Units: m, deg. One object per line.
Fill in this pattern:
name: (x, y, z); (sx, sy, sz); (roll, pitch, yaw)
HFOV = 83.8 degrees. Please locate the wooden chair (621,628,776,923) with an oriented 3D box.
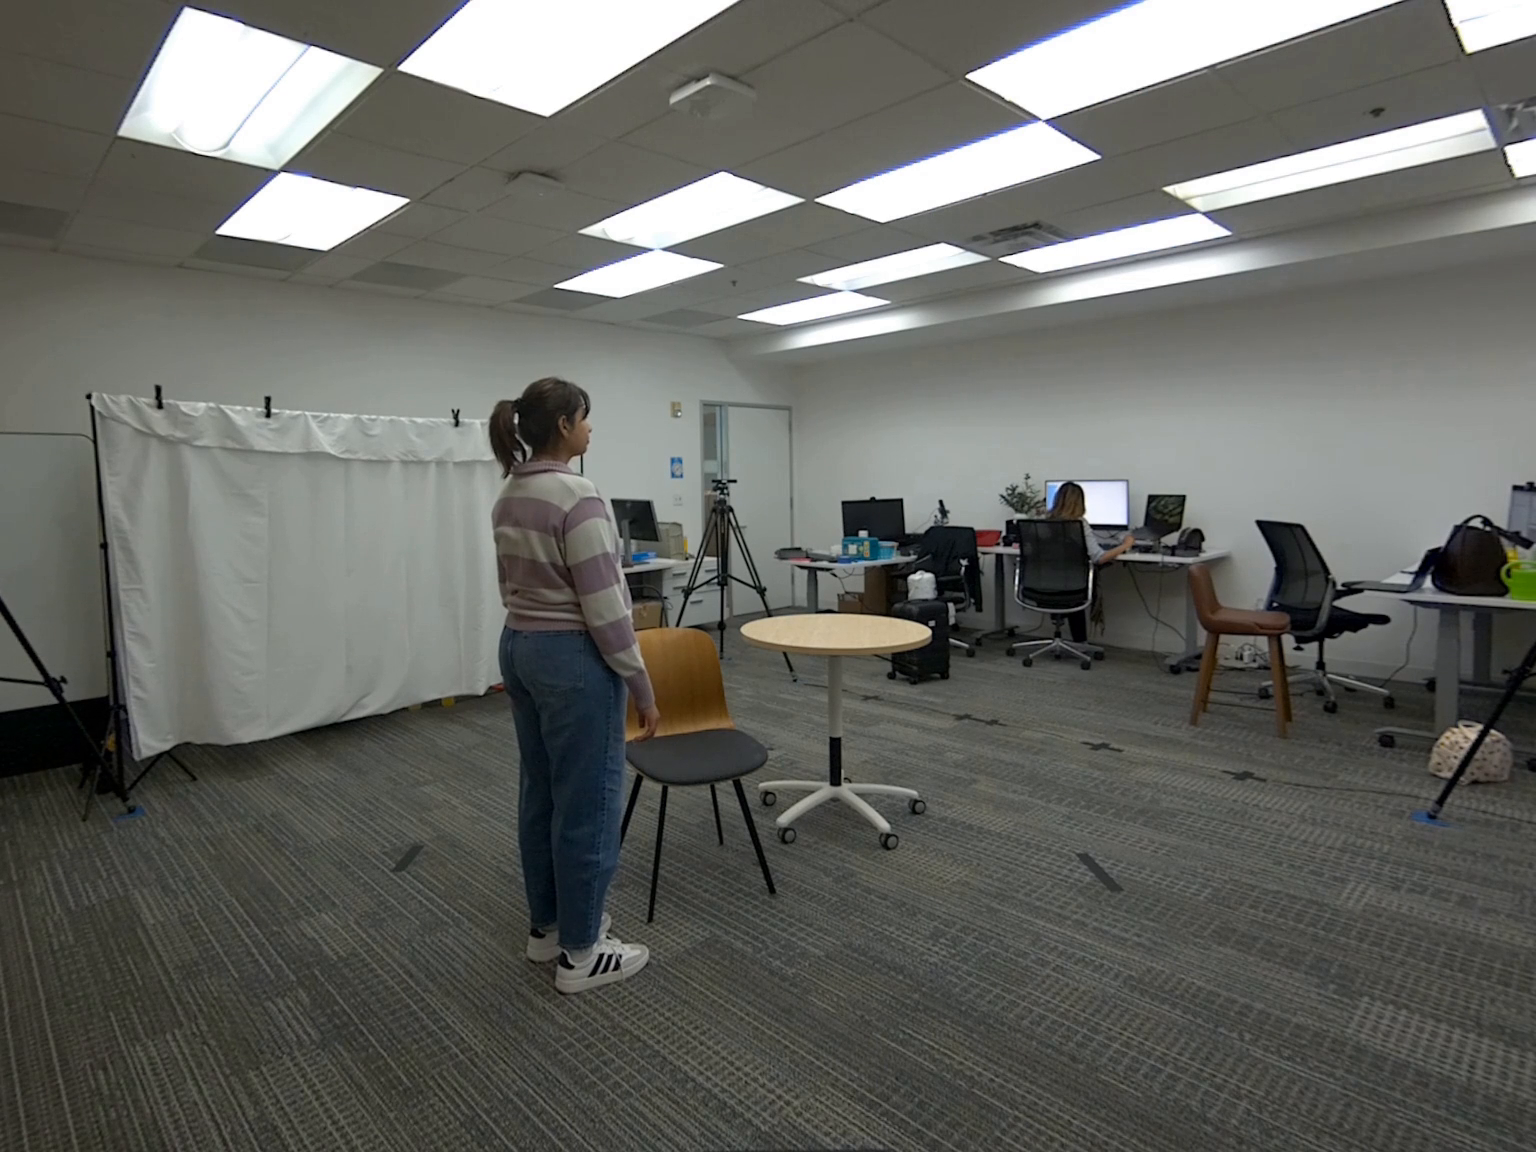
wooden chair: (-0.273, 0.642, 2.956); (0.468, 0.877, 0.534); (-3, 0, -25)
